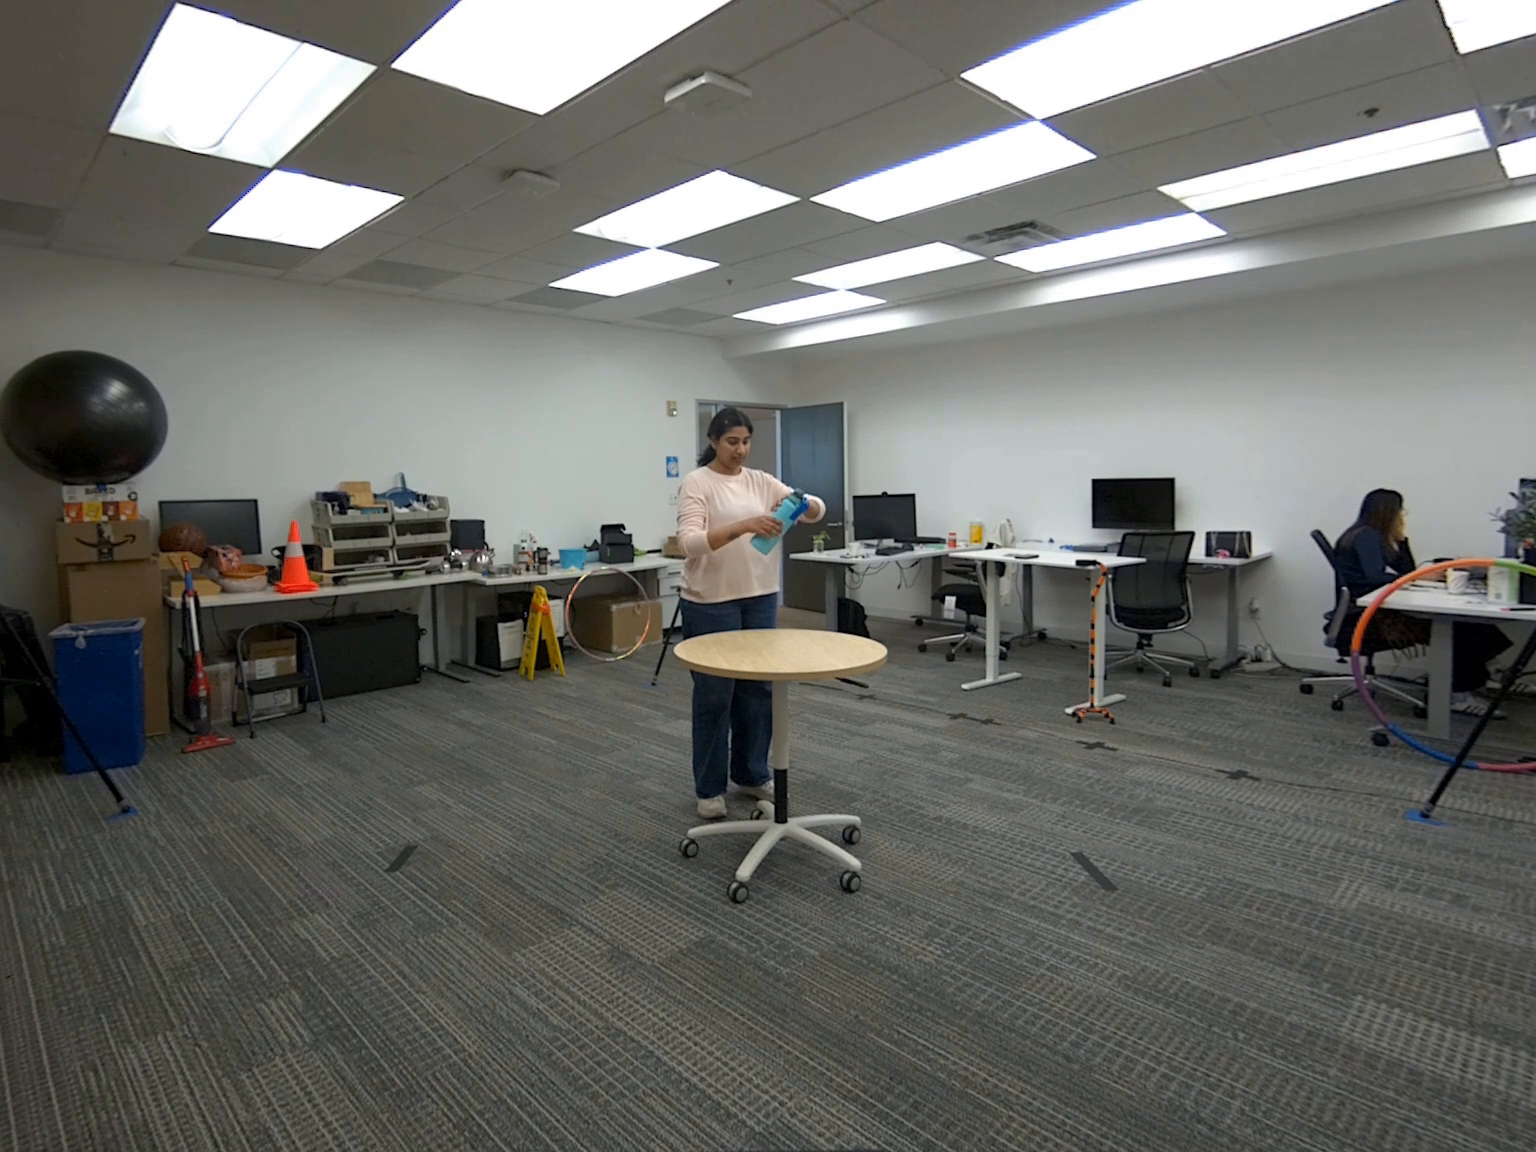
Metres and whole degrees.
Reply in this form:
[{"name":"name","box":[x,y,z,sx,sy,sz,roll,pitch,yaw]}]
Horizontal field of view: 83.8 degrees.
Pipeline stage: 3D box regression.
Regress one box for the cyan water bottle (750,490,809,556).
[{"name":"cyan water bottle","box":[0.049,-0.213,3.335,0.091,0.283,0.093,38,9,-9]}]
